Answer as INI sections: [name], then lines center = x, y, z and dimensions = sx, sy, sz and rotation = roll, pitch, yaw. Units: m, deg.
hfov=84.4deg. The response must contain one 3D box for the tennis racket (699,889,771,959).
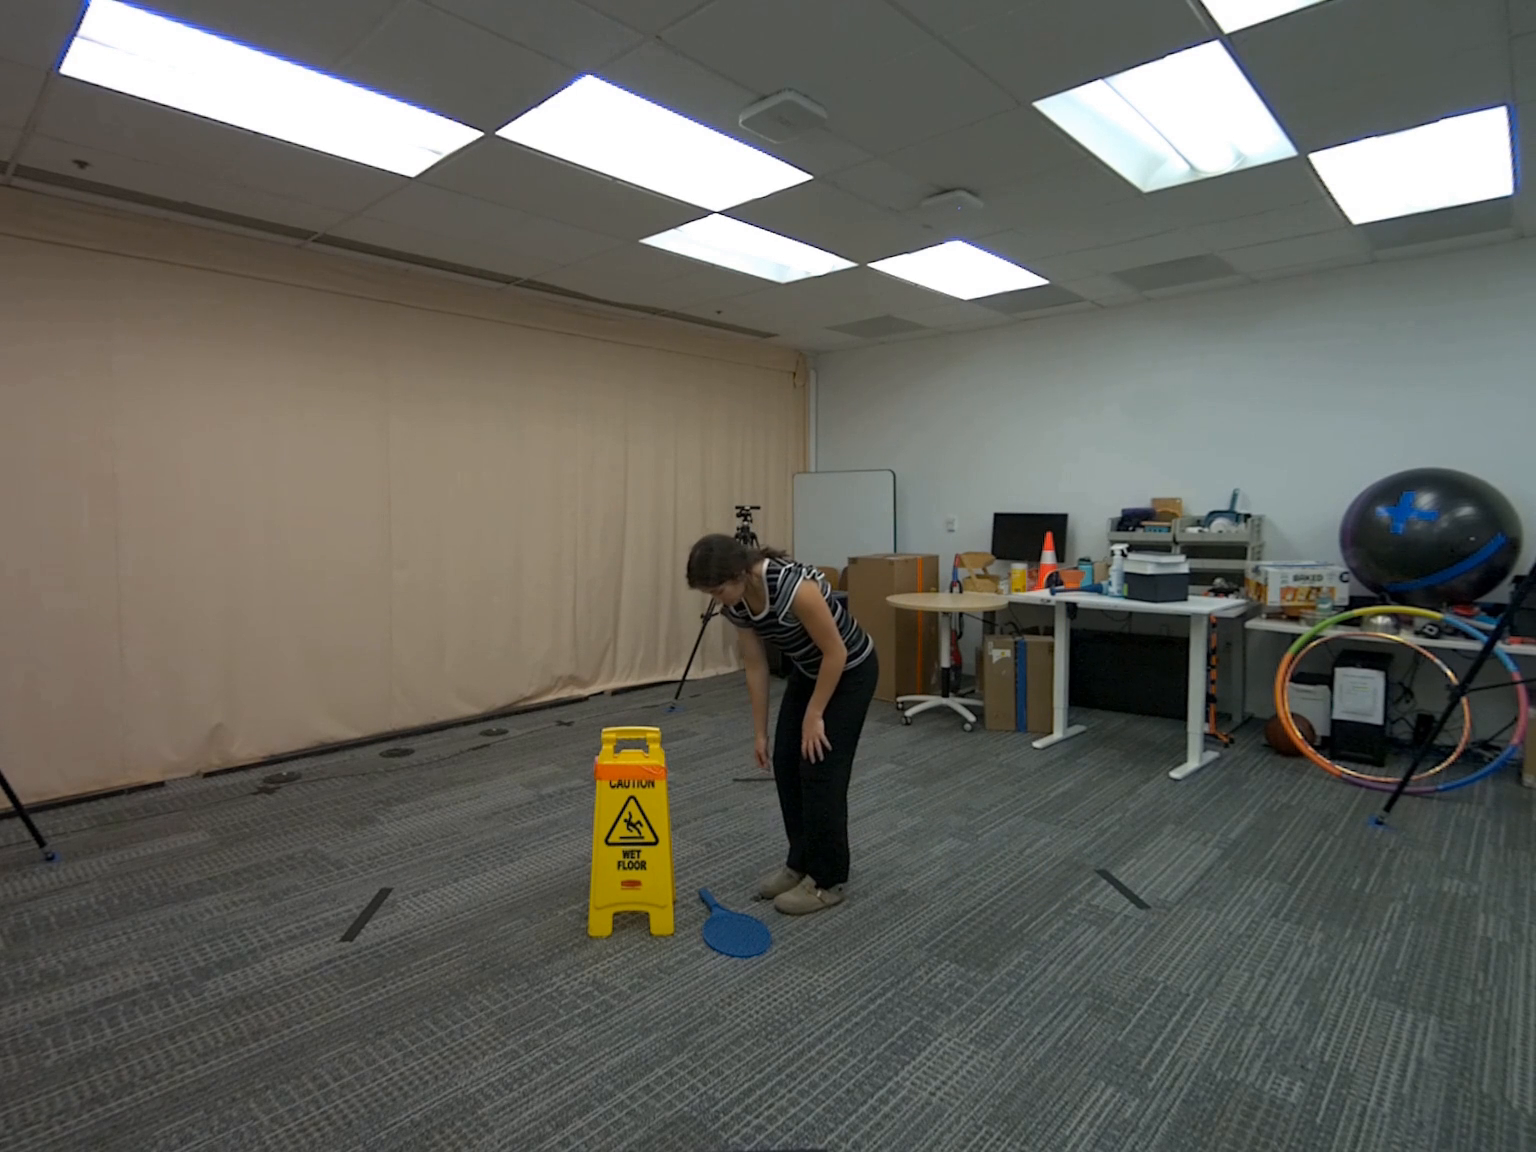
[tennis racket]
center = -0.134, 1.142, 2.799
dimensions = 0.209, 0.031, 0.444
rotation = -3, 7, -24
